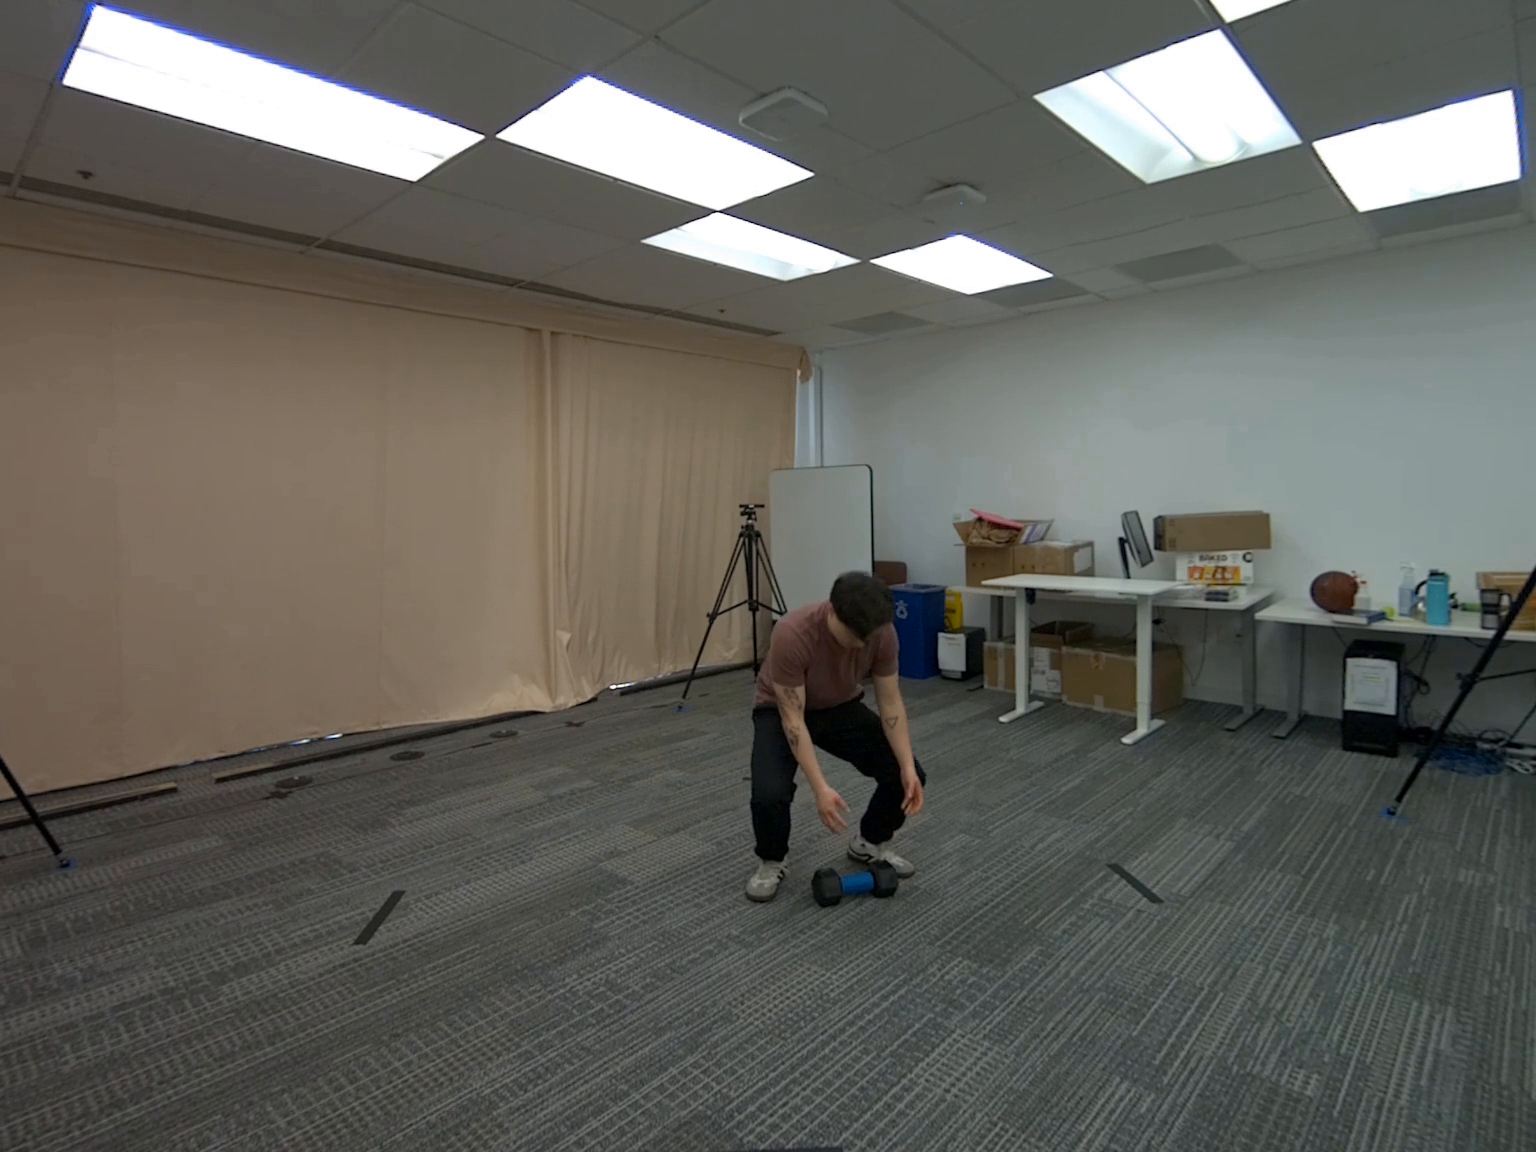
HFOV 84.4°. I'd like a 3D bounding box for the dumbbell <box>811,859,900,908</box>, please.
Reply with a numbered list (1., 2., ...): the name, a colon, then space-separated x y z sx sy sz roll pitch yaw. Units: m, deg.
1. dumbbell: 0.308 1.084 2.953 0.290 0.108 0.125 -1 7 -11
